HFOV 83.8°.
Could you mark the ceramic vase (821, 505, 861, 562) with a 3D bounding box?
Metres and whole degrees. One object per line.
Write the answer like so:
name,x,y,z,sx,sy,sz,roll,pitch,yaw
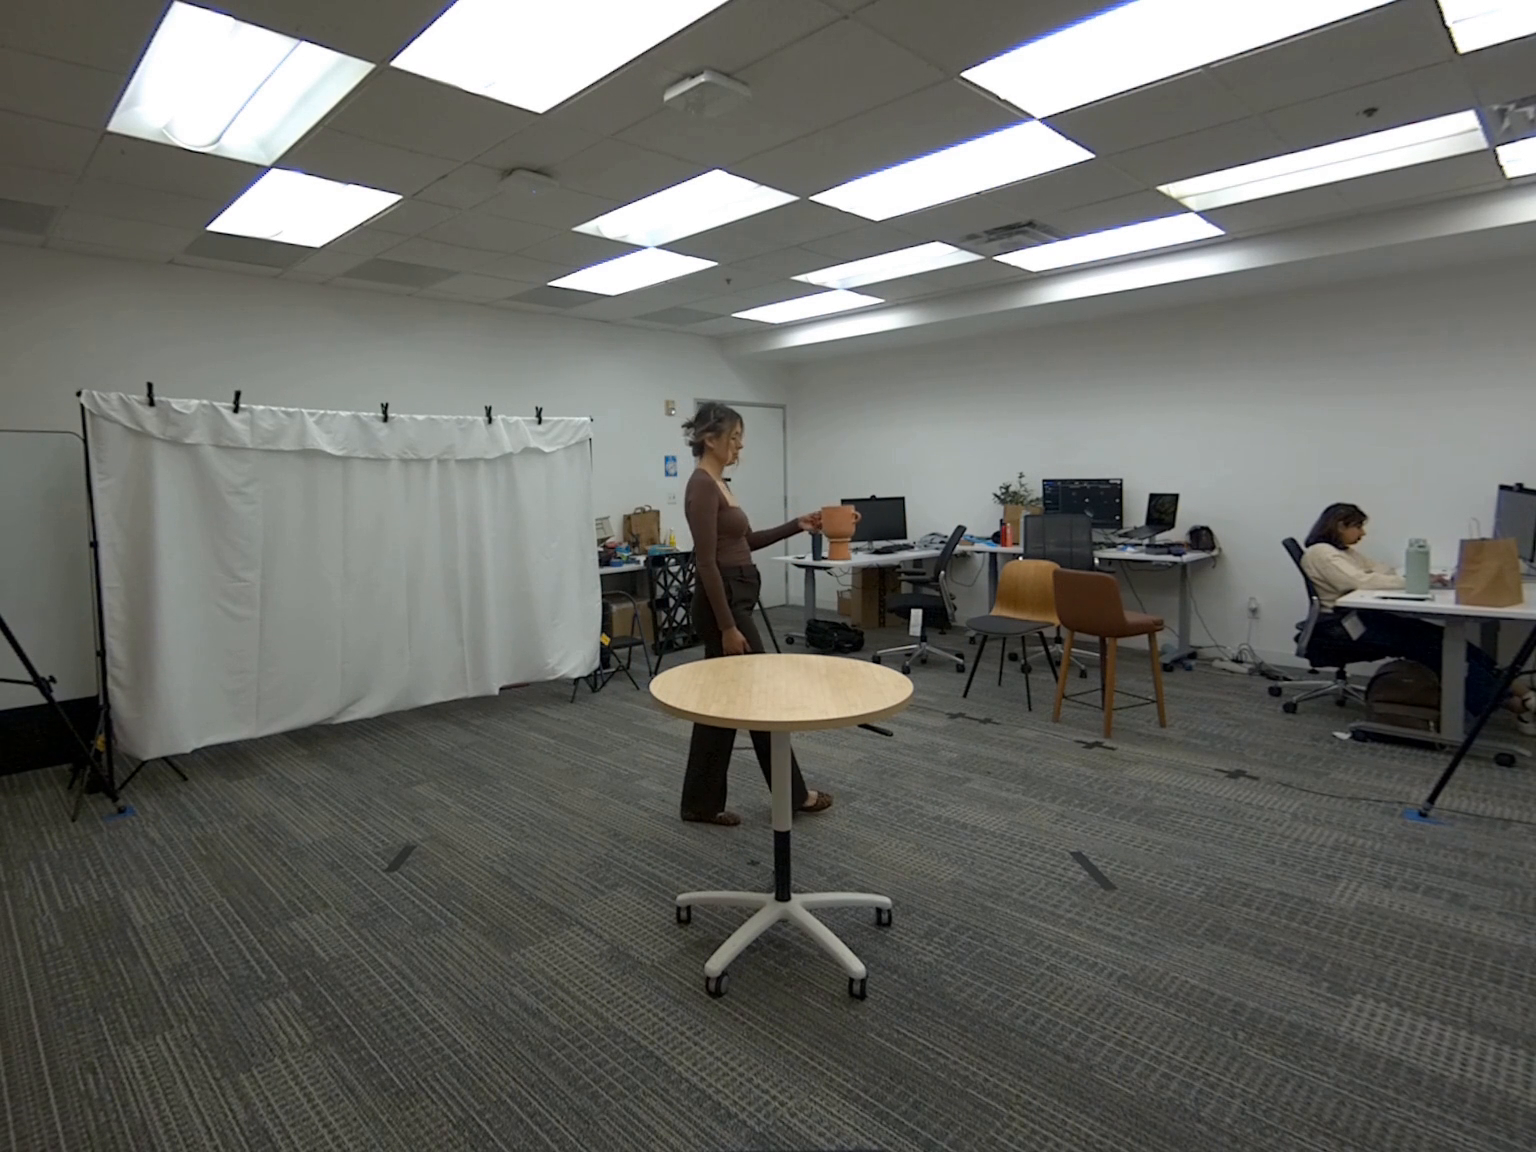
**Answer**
ceramic vase,0.292,-0.177,3.463,0.132,0.219,0.162,-3,3,-20
